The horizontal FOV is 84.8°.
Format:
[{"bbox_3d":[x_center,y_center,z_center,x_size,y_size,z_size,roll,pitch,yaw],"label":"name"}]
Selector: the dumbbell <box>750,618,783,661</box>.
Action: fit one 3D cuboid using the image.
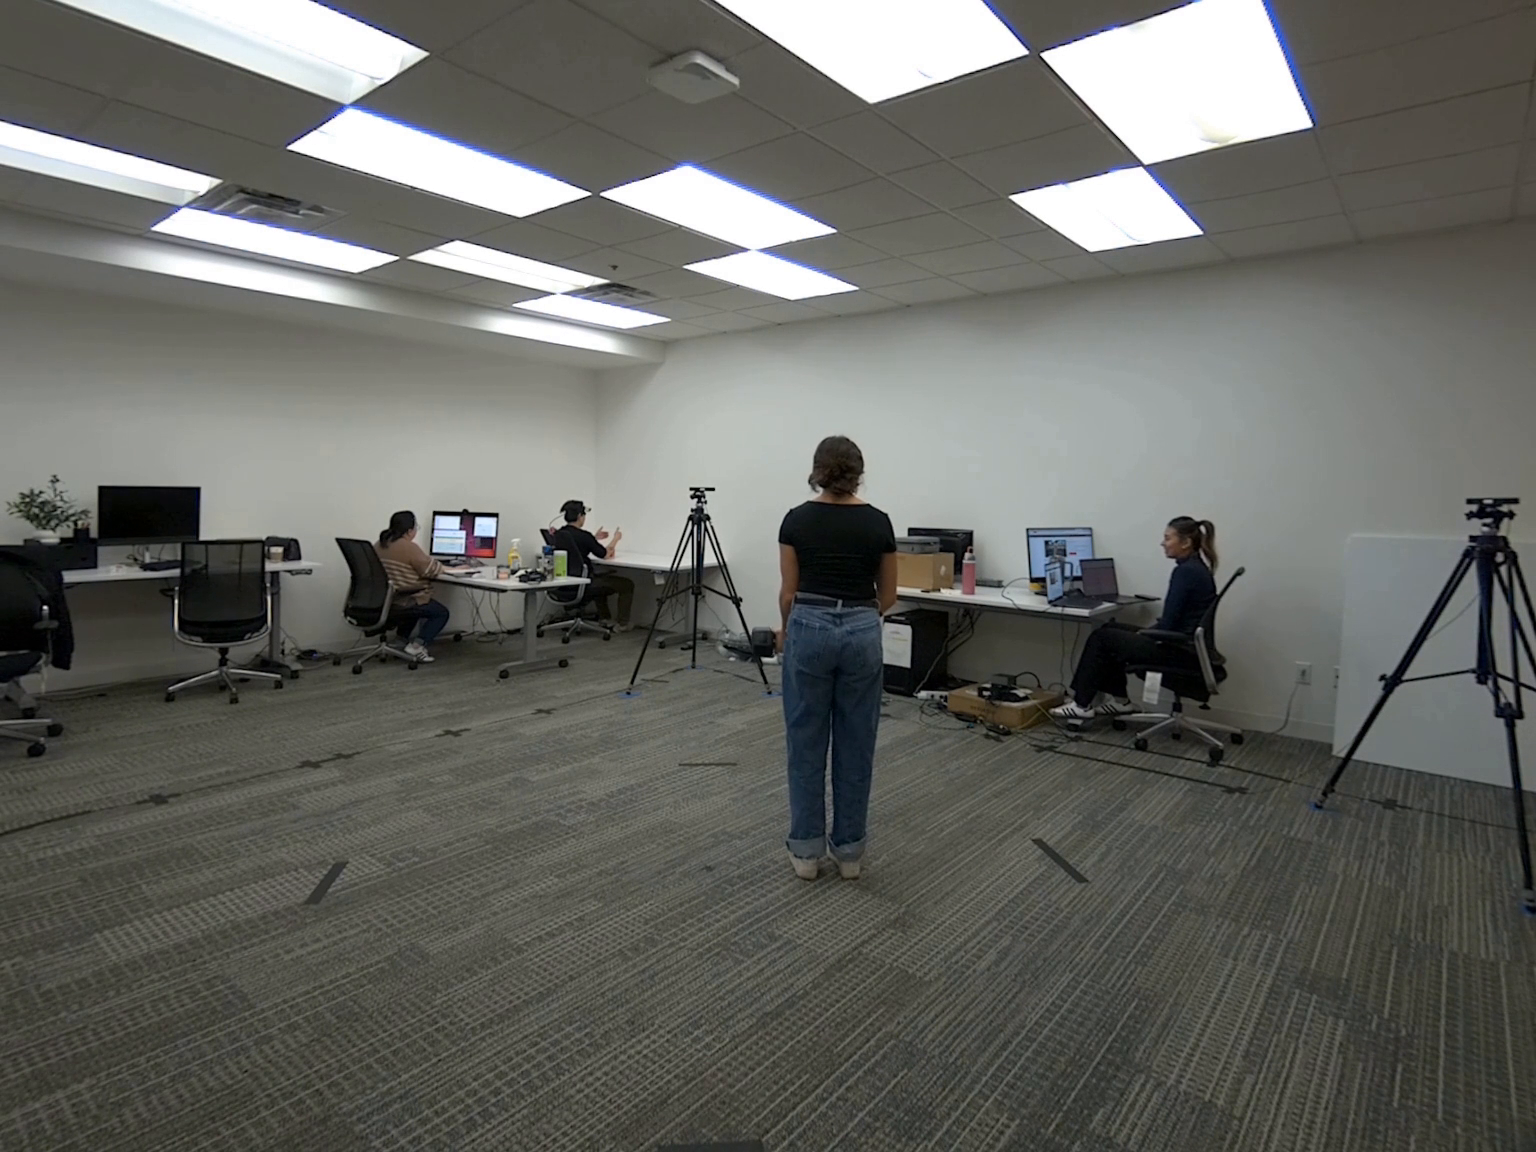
[{"bbox_3d":[0.084,0.248,3.346,0.292,0.120,0.112,-1,37,-4],"label":"dumbbell"}]
